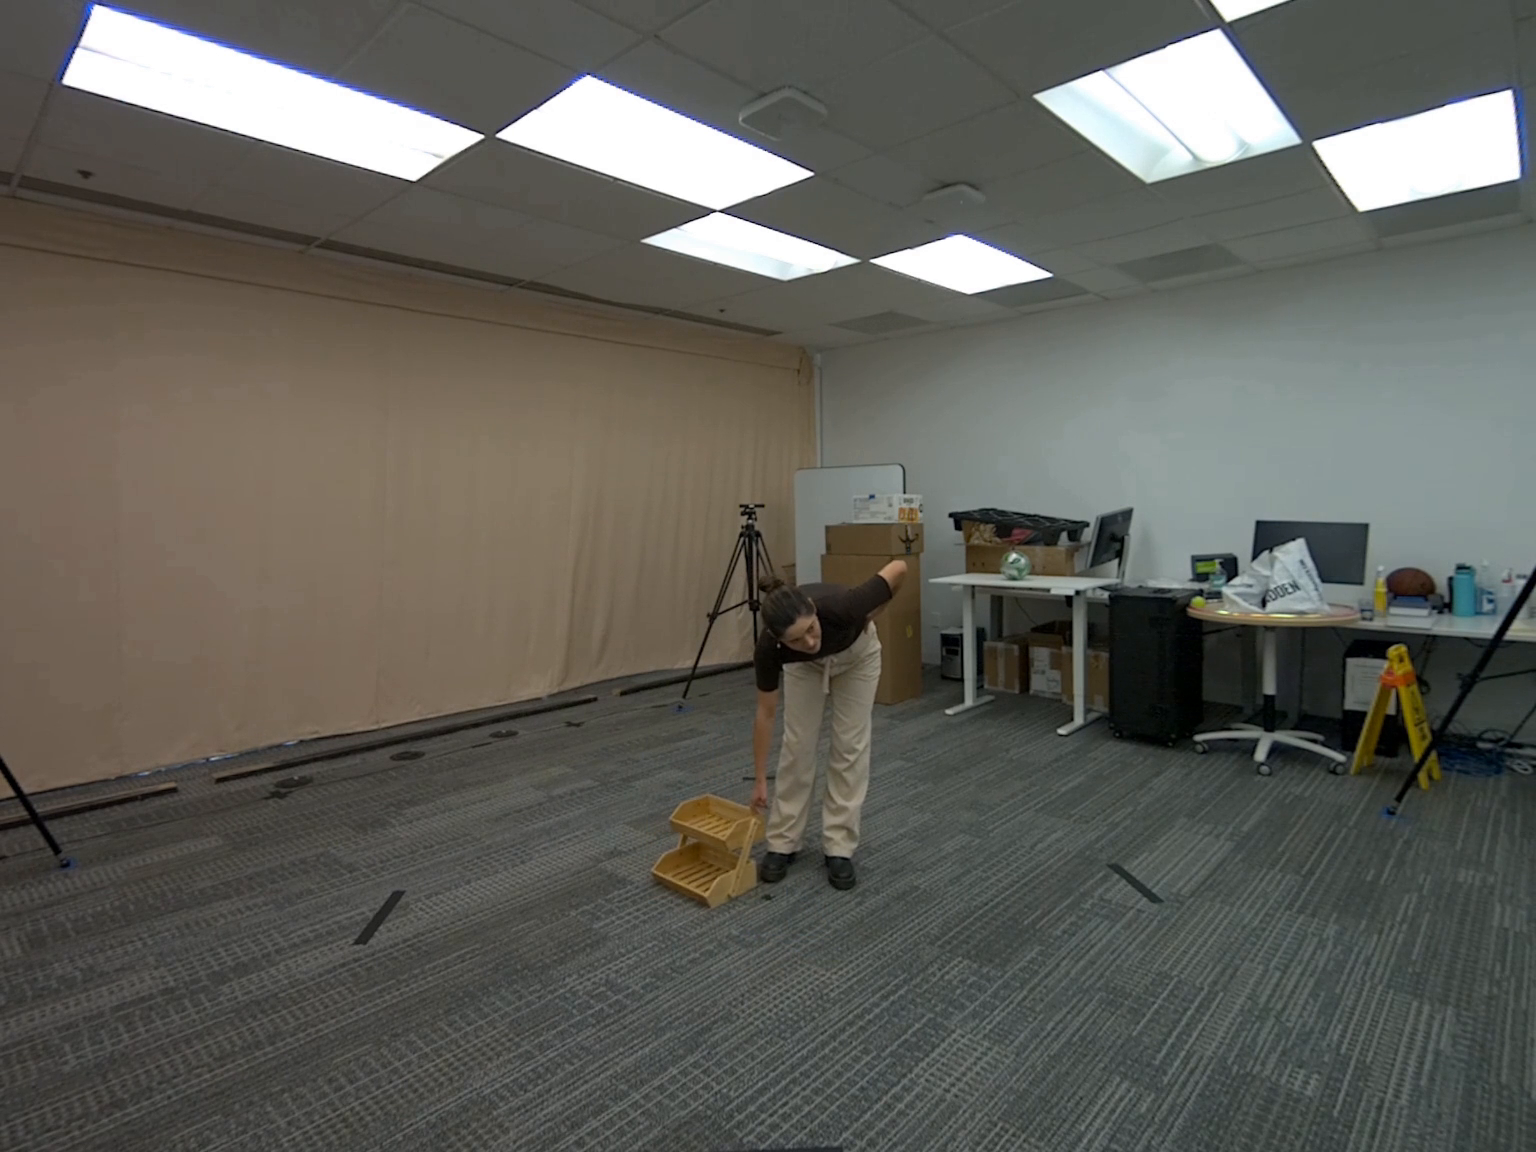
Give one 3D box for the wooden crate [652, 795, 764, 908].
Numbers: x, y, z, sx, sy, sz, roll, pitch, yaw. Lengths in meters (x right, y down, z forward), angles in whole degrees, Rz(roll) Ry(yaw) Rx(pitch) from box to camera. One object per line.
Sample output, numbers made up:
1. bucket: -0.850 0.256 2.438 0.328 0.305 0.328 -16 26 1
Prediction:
1. wooden crate: -0.219 1.001 3.101 0.335 0.273 0.293 3 5 44
